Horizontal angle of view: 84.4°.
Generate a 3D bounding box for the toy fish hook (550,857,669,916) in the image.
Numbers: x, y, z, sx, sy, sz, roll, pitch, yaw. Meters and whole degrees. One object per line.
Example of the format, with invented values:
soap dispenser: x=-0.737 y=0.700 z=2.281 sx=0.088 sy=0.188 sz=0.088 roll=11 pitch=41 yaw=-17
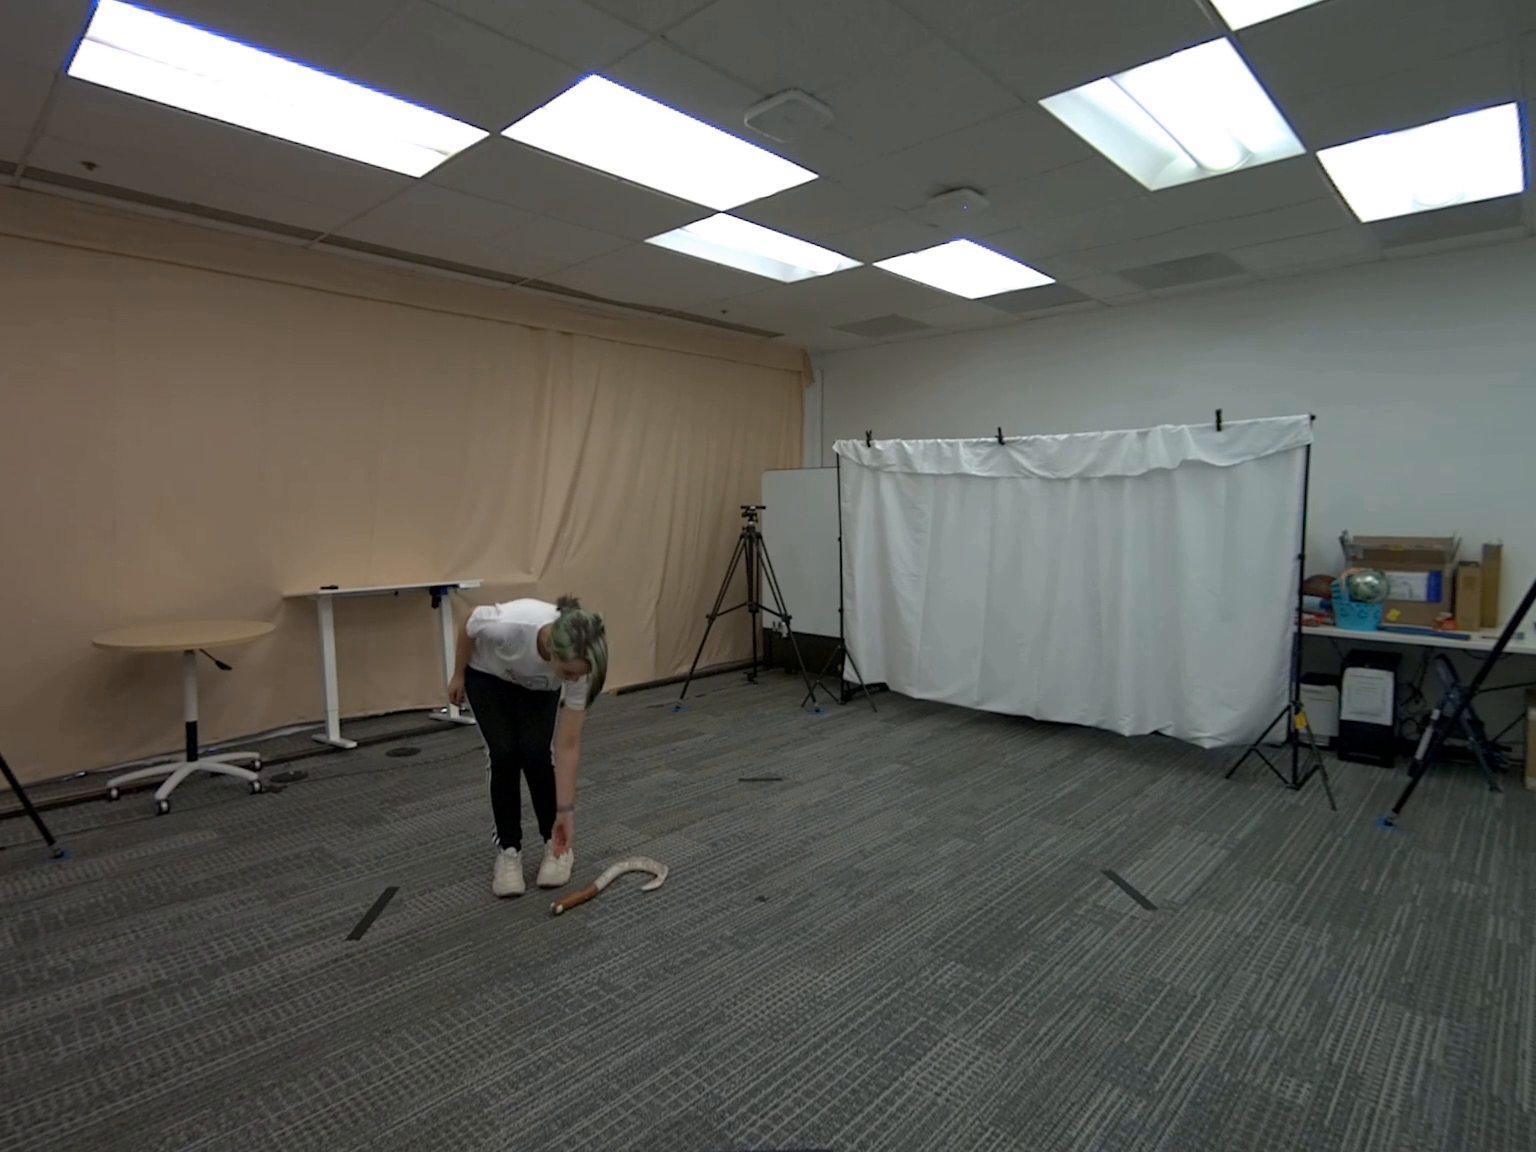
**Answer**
toy fish hook: x=-0.556 y=1.122 z=3.034 sx=0.231 sy=0.048 sz=0.492 roll=1 pitch=5 yaw=33
